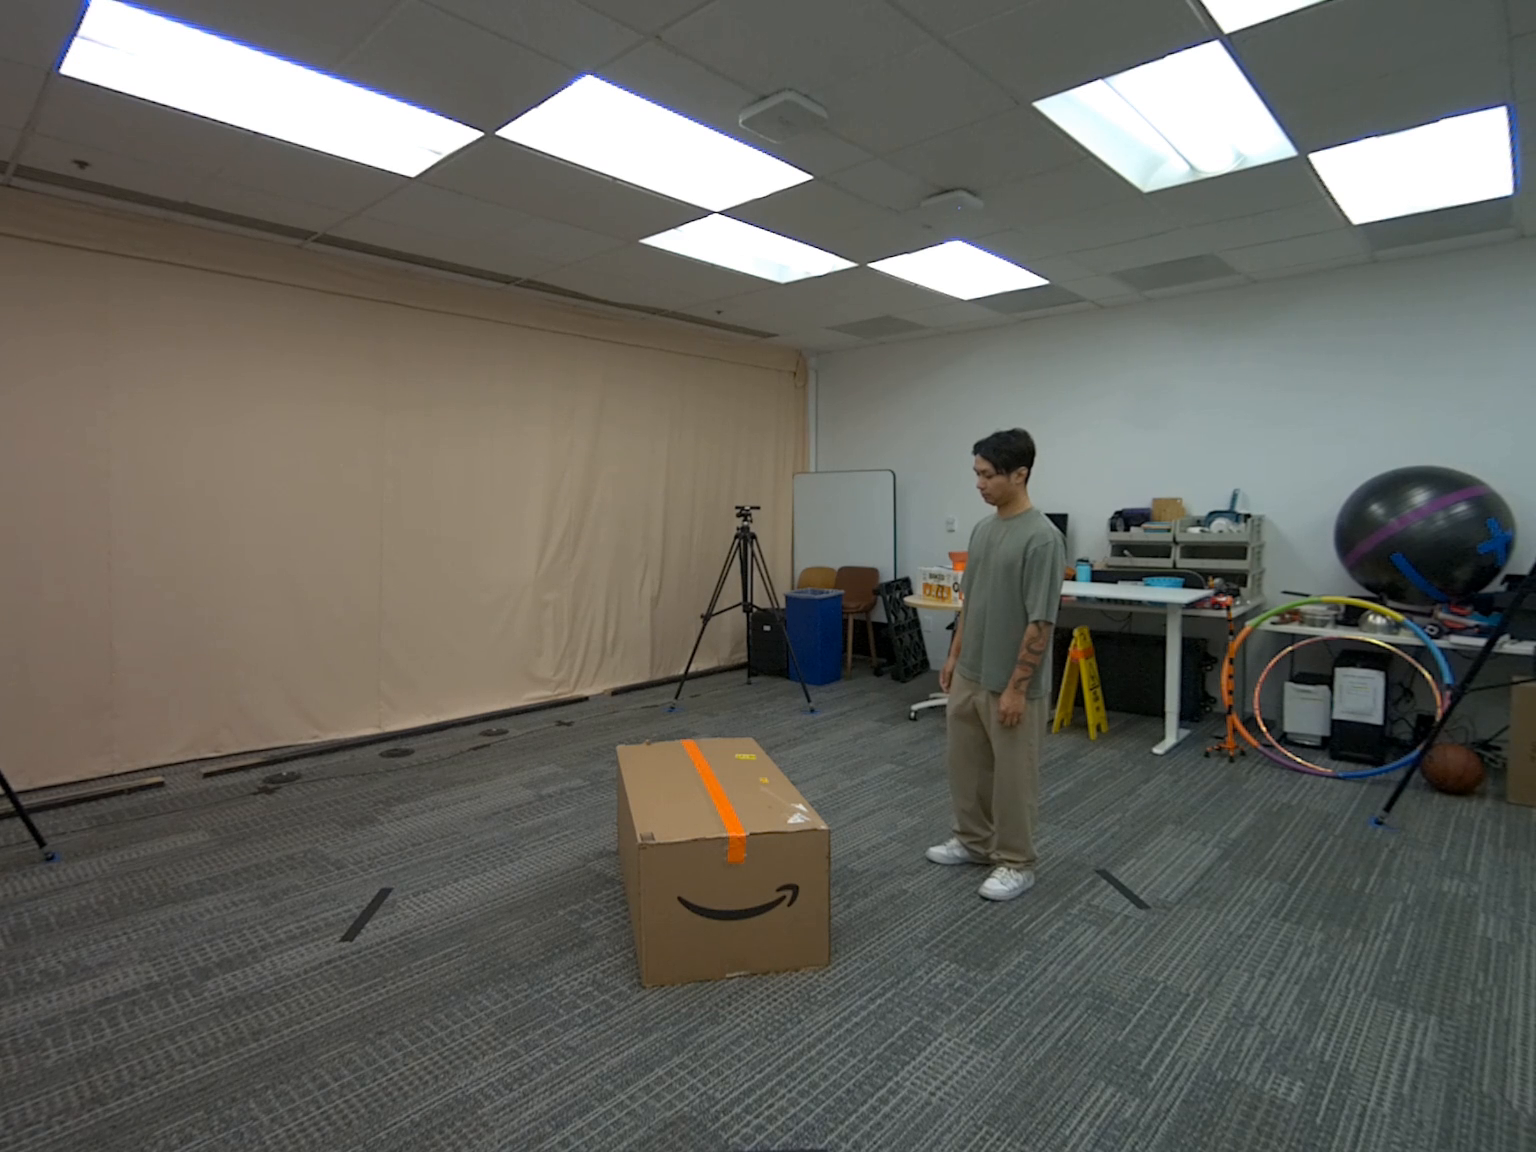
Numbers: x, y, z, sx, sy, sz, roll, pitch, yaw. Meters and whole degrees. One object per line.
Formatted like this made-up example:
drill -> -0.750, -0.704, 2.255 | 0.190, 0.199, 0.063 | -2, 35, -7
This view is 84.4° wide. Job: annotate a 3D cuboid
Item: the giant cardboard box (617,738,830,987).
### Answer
giant cardboard box -> -0.214, 0.928, 2.975 | 0.570, 0.425, 1.042 | -1, 4, -13
